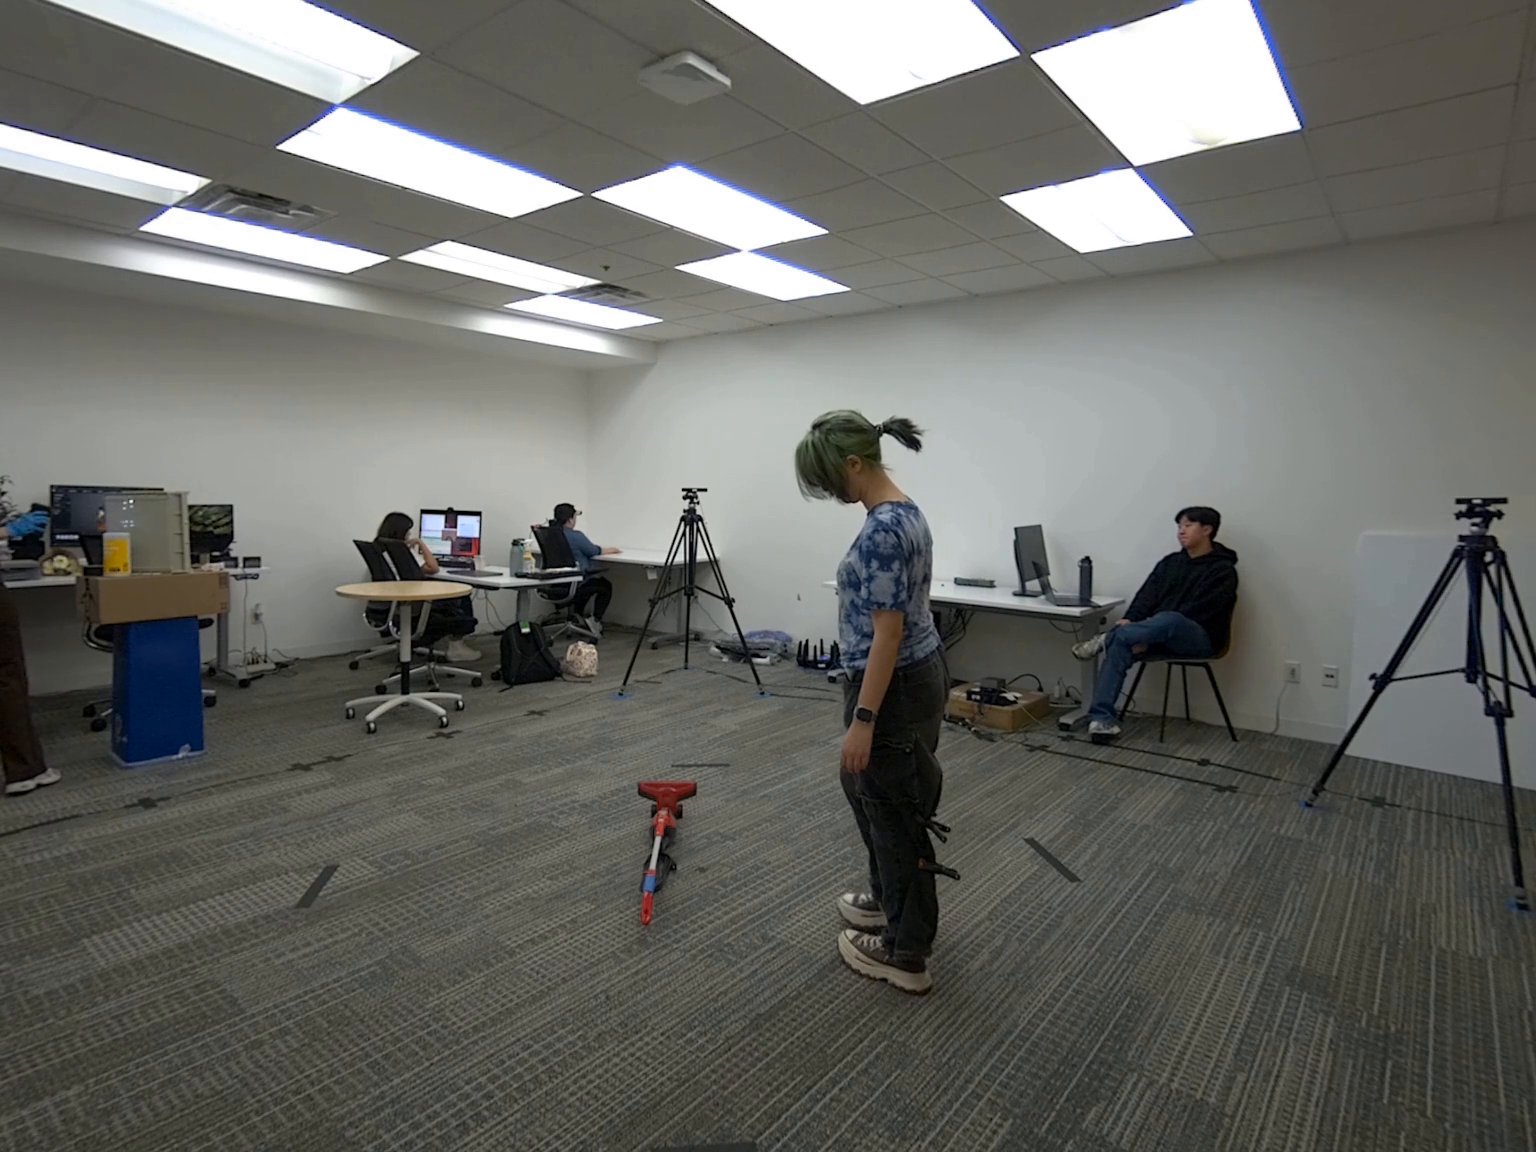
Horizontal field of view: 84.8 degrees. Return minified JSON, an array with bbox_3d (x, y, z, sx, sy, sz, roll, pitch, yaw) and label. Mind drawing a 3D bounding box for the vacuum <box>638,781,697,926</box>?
[{"bbox_3d":[-0.404,1.001,3.104,0.252,0.143,1.057,0,7,-4],"label":"vacuum"}]
